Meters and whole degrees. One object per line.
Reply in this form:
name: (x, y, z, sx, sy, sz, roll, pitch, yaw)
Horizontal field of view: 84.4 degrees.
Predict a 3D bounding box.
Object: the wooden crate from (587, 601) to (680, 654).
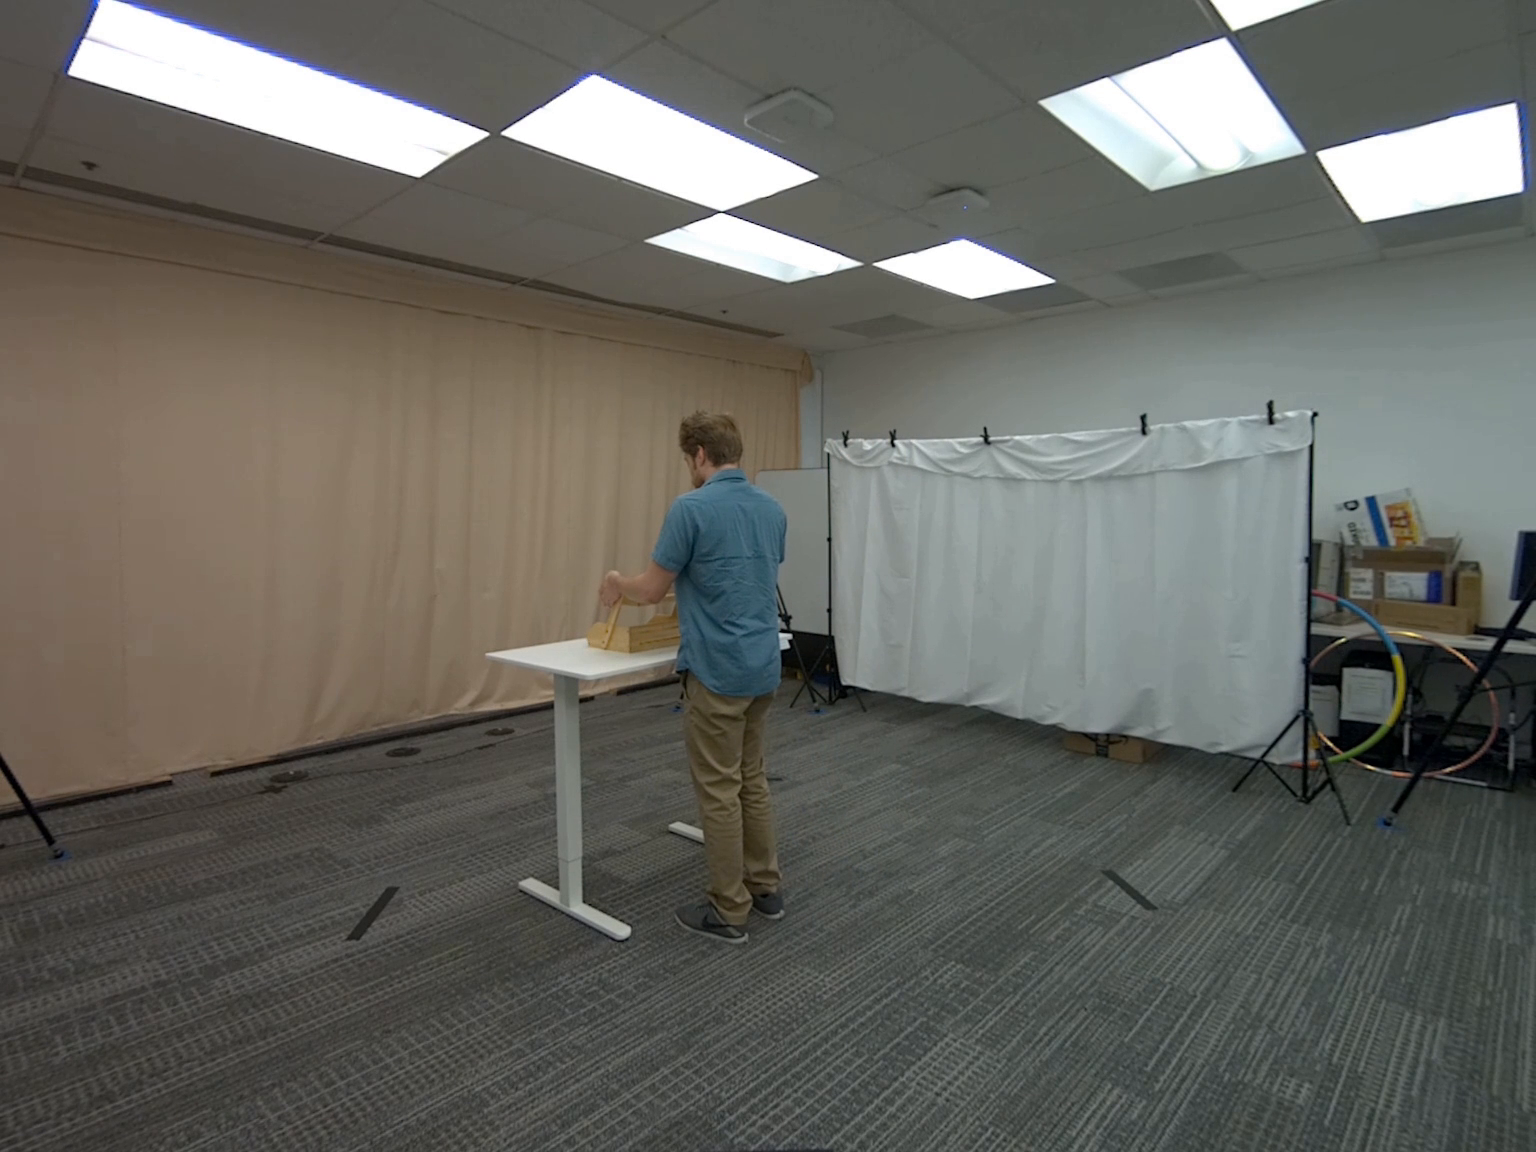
wooden crate: (-0.464, 0.124, 3.099, 0.312, 0.272, 0.315, 4, 6, 43)
